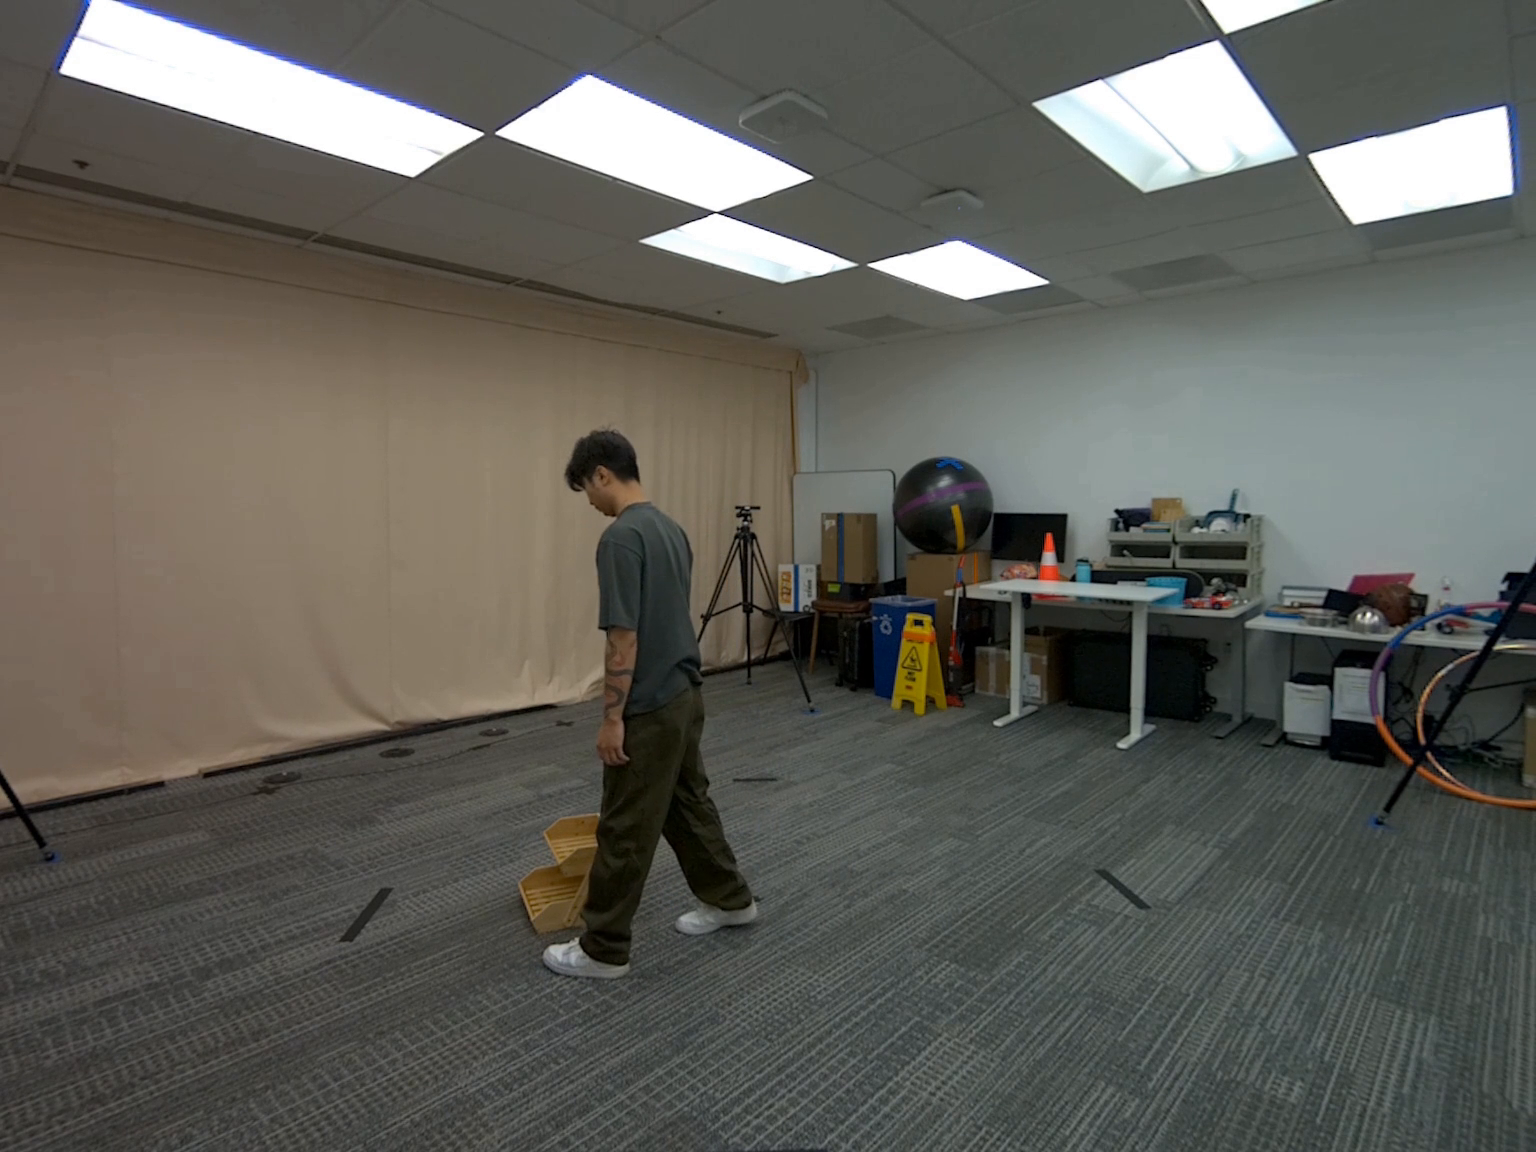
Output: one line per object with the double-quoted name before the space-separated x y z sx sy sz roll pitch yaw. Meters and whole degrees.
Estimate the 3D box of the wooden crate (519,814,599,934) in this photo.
"wooden crate" -0.701 1.021 2.925 0.295 0.272 0.332 -3 5 -23
